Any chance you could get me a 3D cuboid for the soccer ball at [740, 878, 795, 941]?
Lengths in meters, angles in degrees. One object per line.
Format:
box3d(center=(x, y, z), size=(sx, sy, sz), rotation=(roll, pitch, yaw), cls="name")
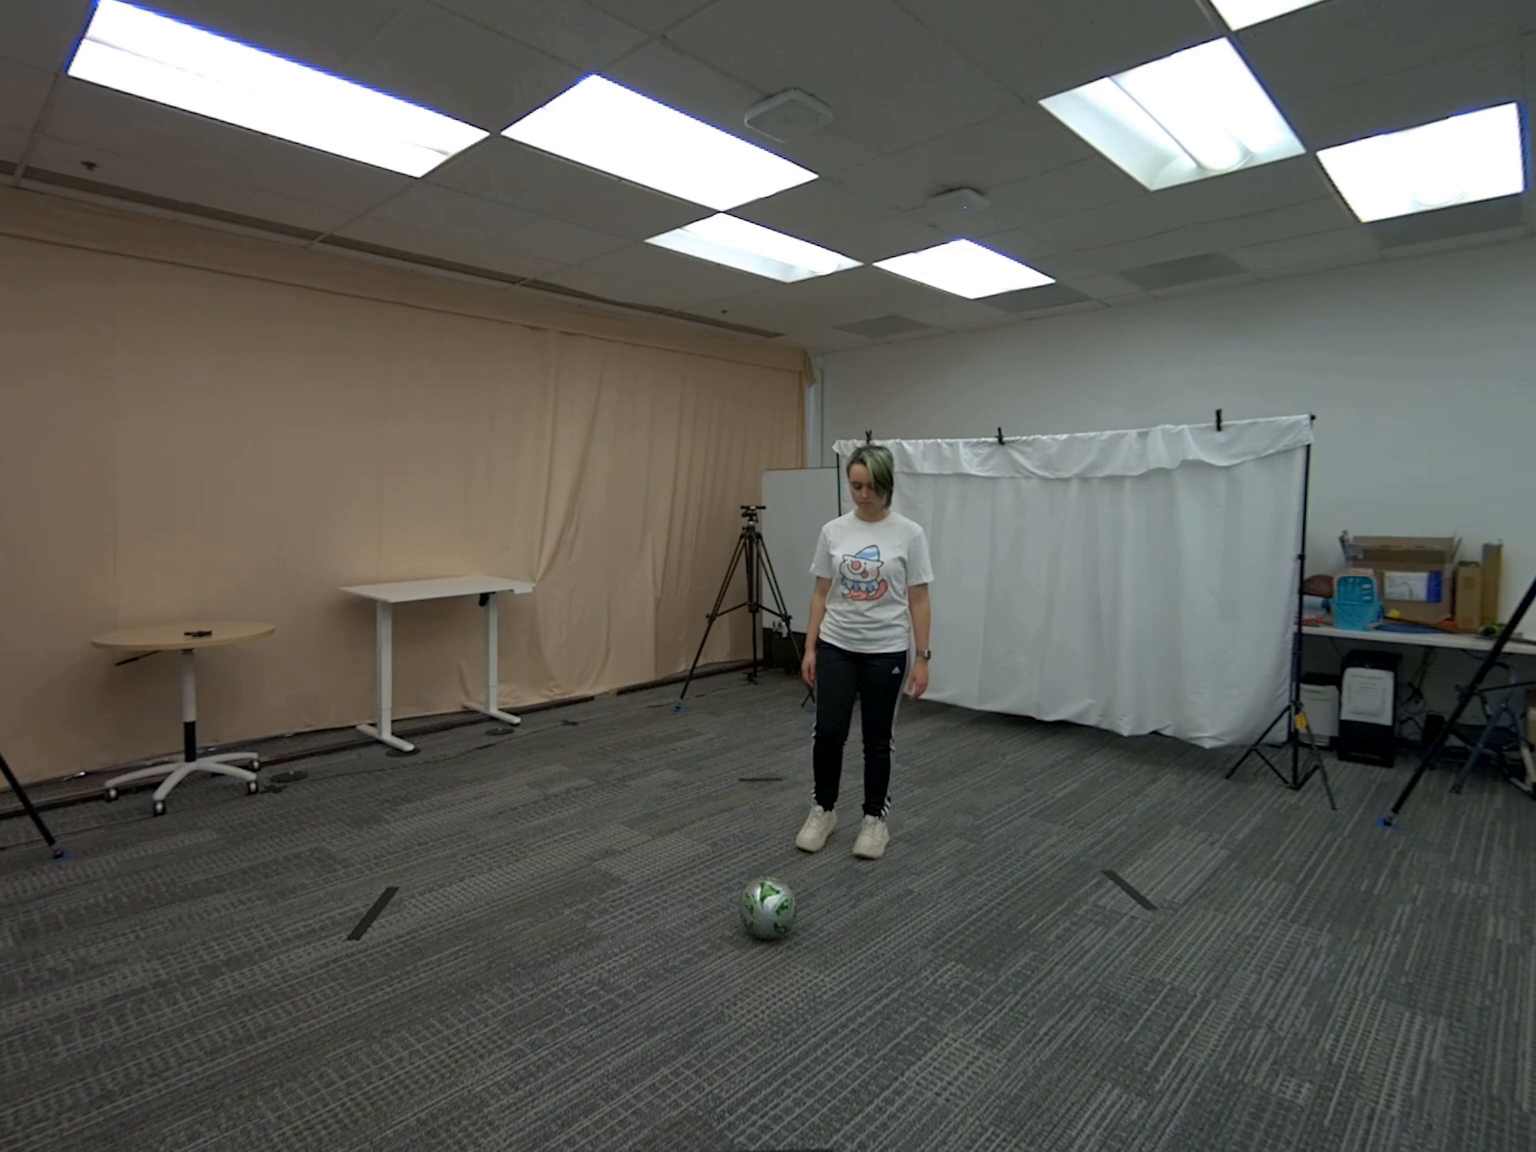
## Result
box3d(center=(0.000, 1.071, 2.726), size=(0.187, 0.187, 0.188), rotation=(0, 4, -2), cls="soccer ball")
